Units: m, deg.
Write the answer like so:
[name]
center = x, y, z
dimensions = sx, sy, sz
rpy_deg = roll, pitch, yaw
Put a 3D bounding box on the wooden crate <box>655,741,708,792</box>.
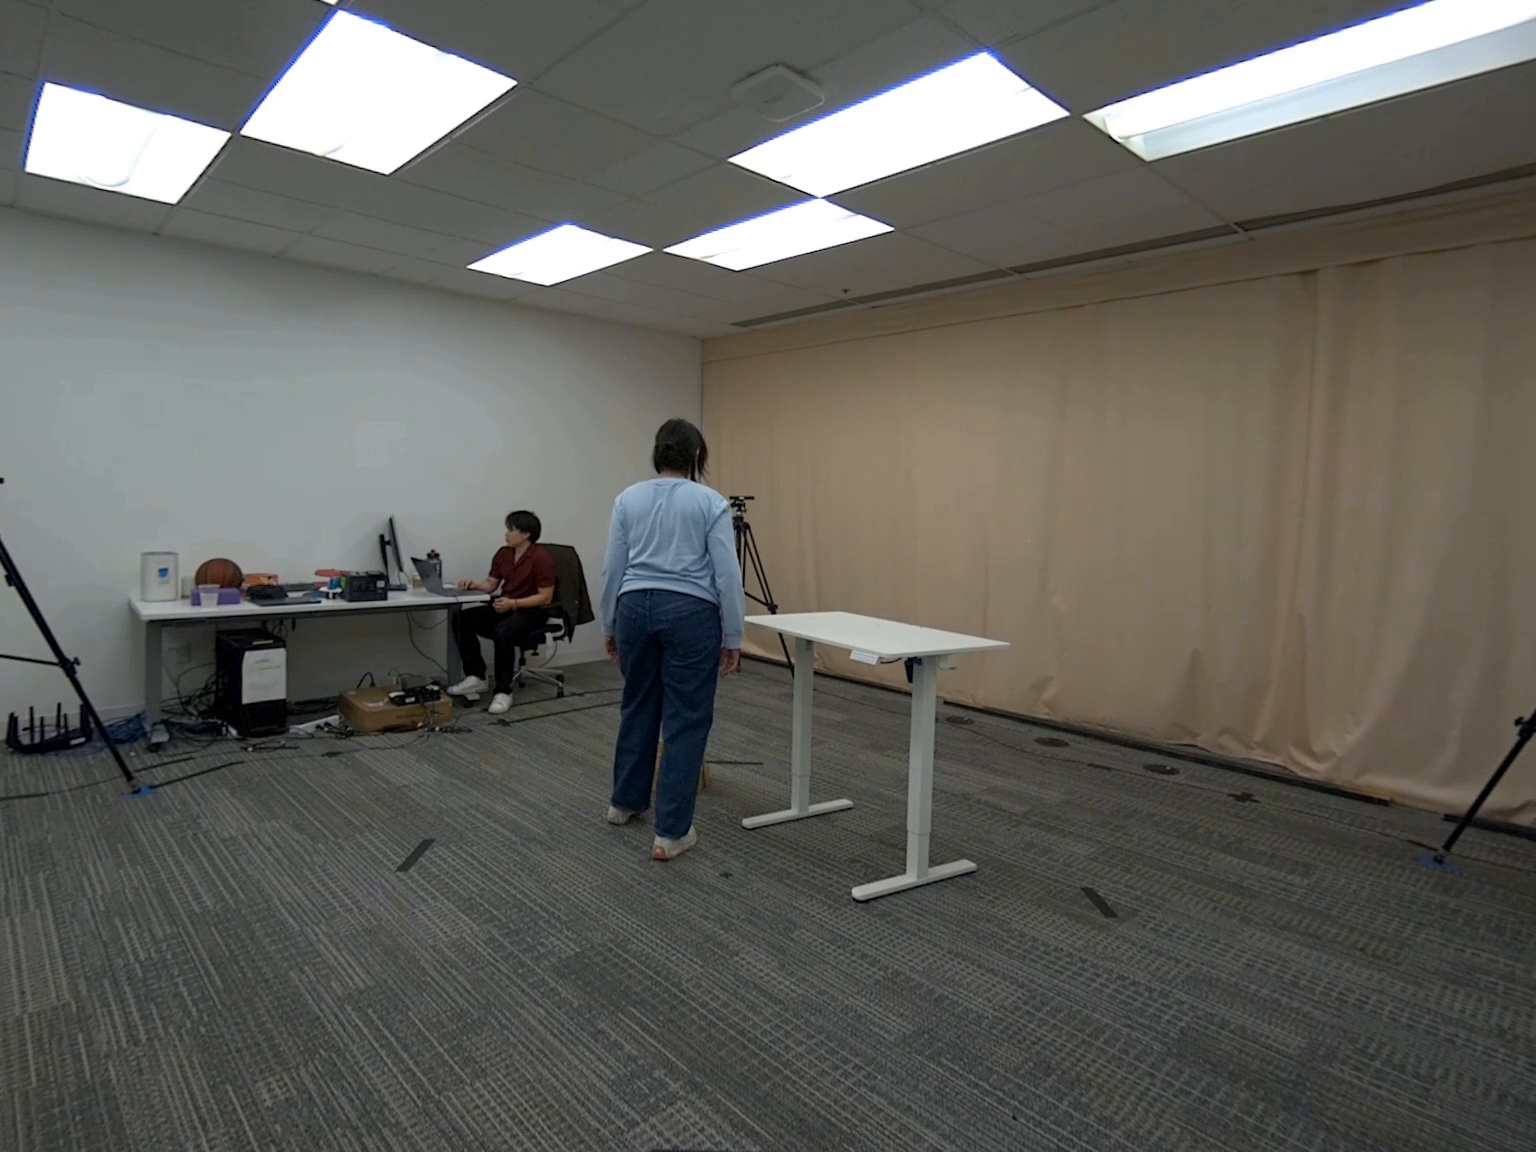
[wooden crate]
center = -0.466, 0.882, 4.071
dimensions = 0.327, 0.272, 0.300
rpy_deg = 2, 5, 9
